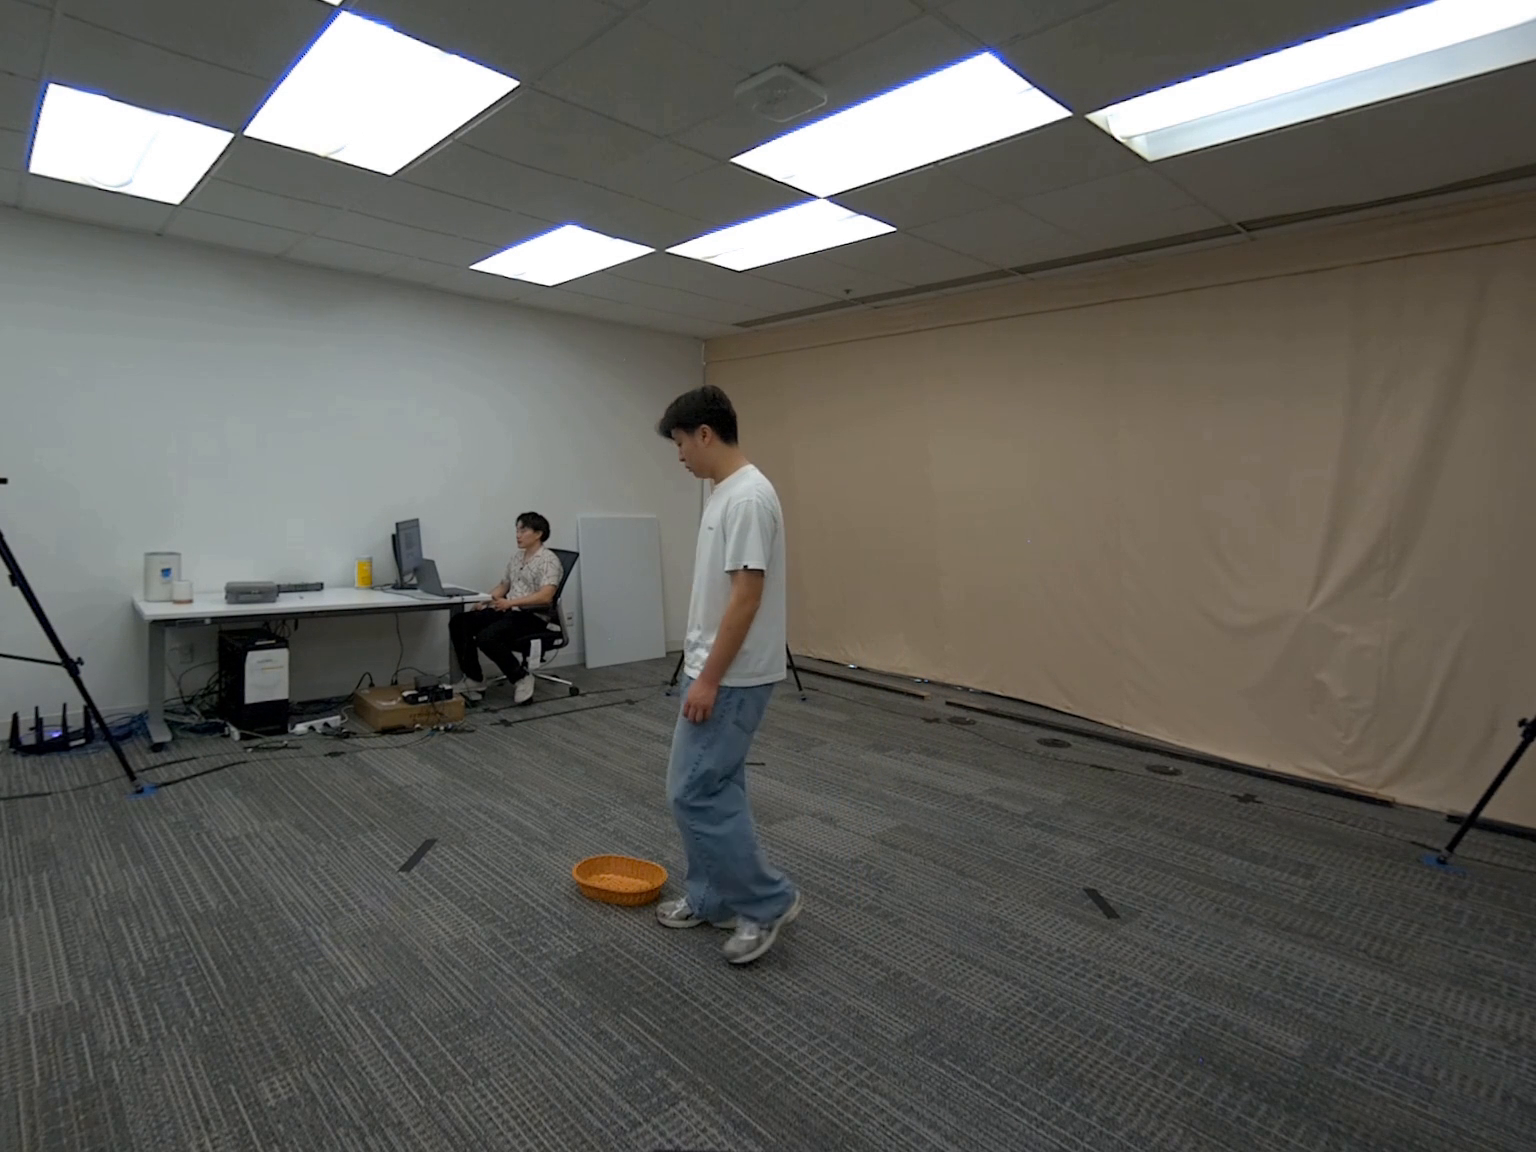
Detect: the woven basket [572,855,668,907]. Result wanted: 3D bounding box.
[{"bbox_3d":[-0.525,1.070,2.955,0.357,0.073,0.248,4,6,23],"label":"woven basket"}]
